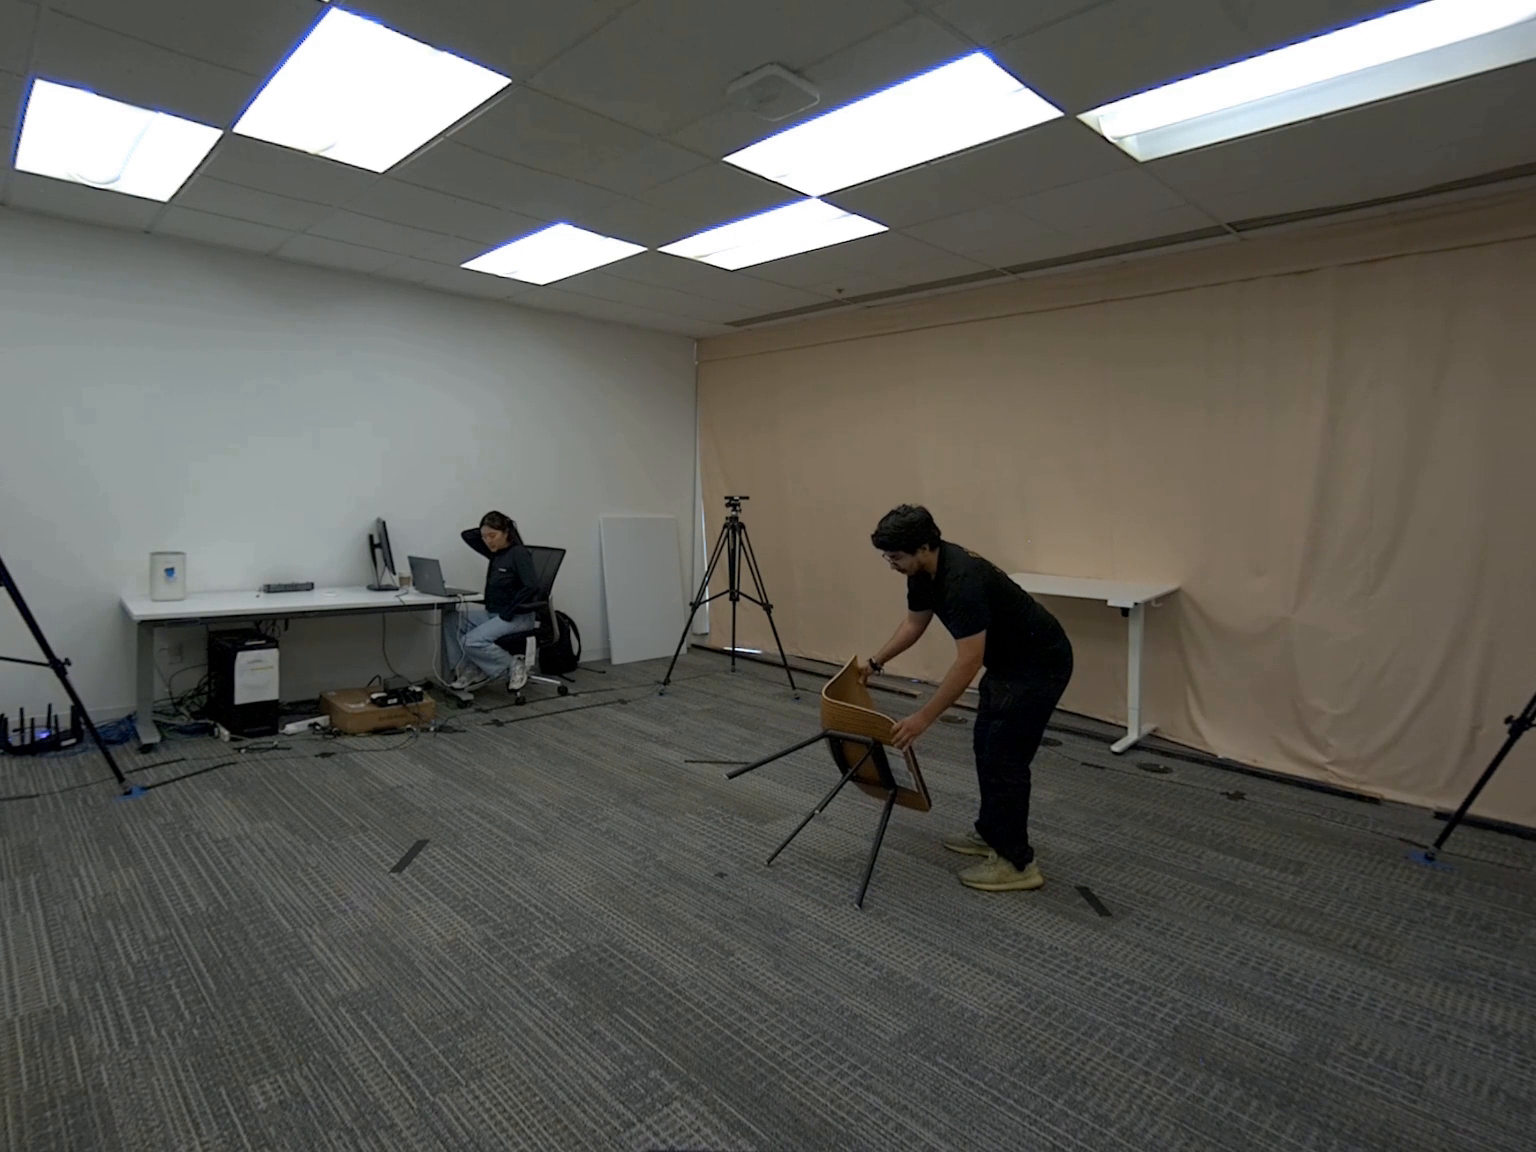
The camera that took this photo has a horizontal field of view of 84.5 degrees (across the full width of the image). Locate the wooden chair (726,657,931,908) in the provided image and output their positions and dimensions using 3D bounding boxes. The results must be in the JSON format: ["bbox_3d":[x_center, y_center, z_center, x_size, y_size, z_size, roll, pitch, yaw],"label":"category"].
[{"bbox_3d":[0.342,0.698,3.180,0.536,0.468,0.874,1,33,42],"label":"wooden chair"}]
